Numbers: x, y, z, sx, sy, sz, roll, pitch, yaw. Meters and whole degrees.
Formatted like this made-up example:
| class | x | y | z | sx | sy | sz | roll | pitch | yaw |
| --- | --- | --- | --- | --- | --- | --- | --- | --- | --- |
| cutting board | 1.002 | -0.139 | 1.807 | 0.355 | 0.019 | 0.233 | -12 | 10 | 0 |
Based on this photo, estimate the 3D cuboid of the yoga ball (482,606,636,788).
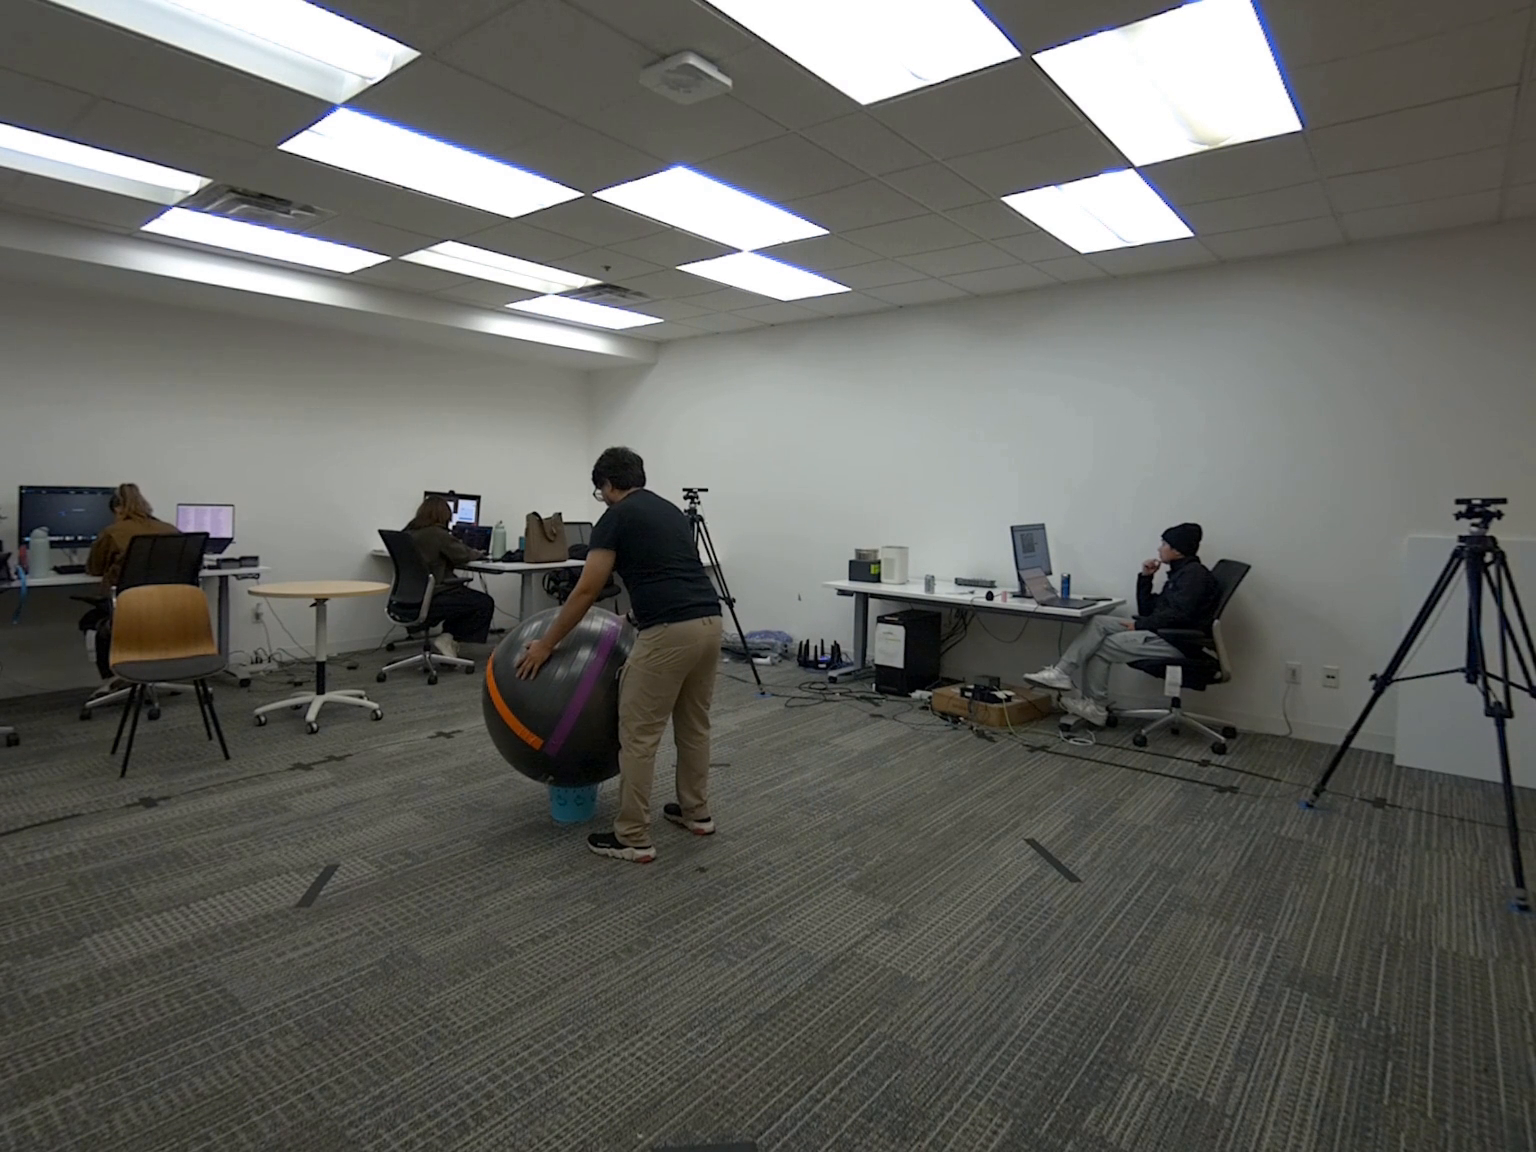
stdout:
| class | x | y | z | sx | sy | sz | roll | pitch | yaw |
| --- | --- | --- | --- | --- | --- | --- | --- | --- | --- |
| yoga ball | -0.830 | 0.505 | 3.601 | 0.757 | 0.755 | 0.762 | 1 | 4 | -2 |
